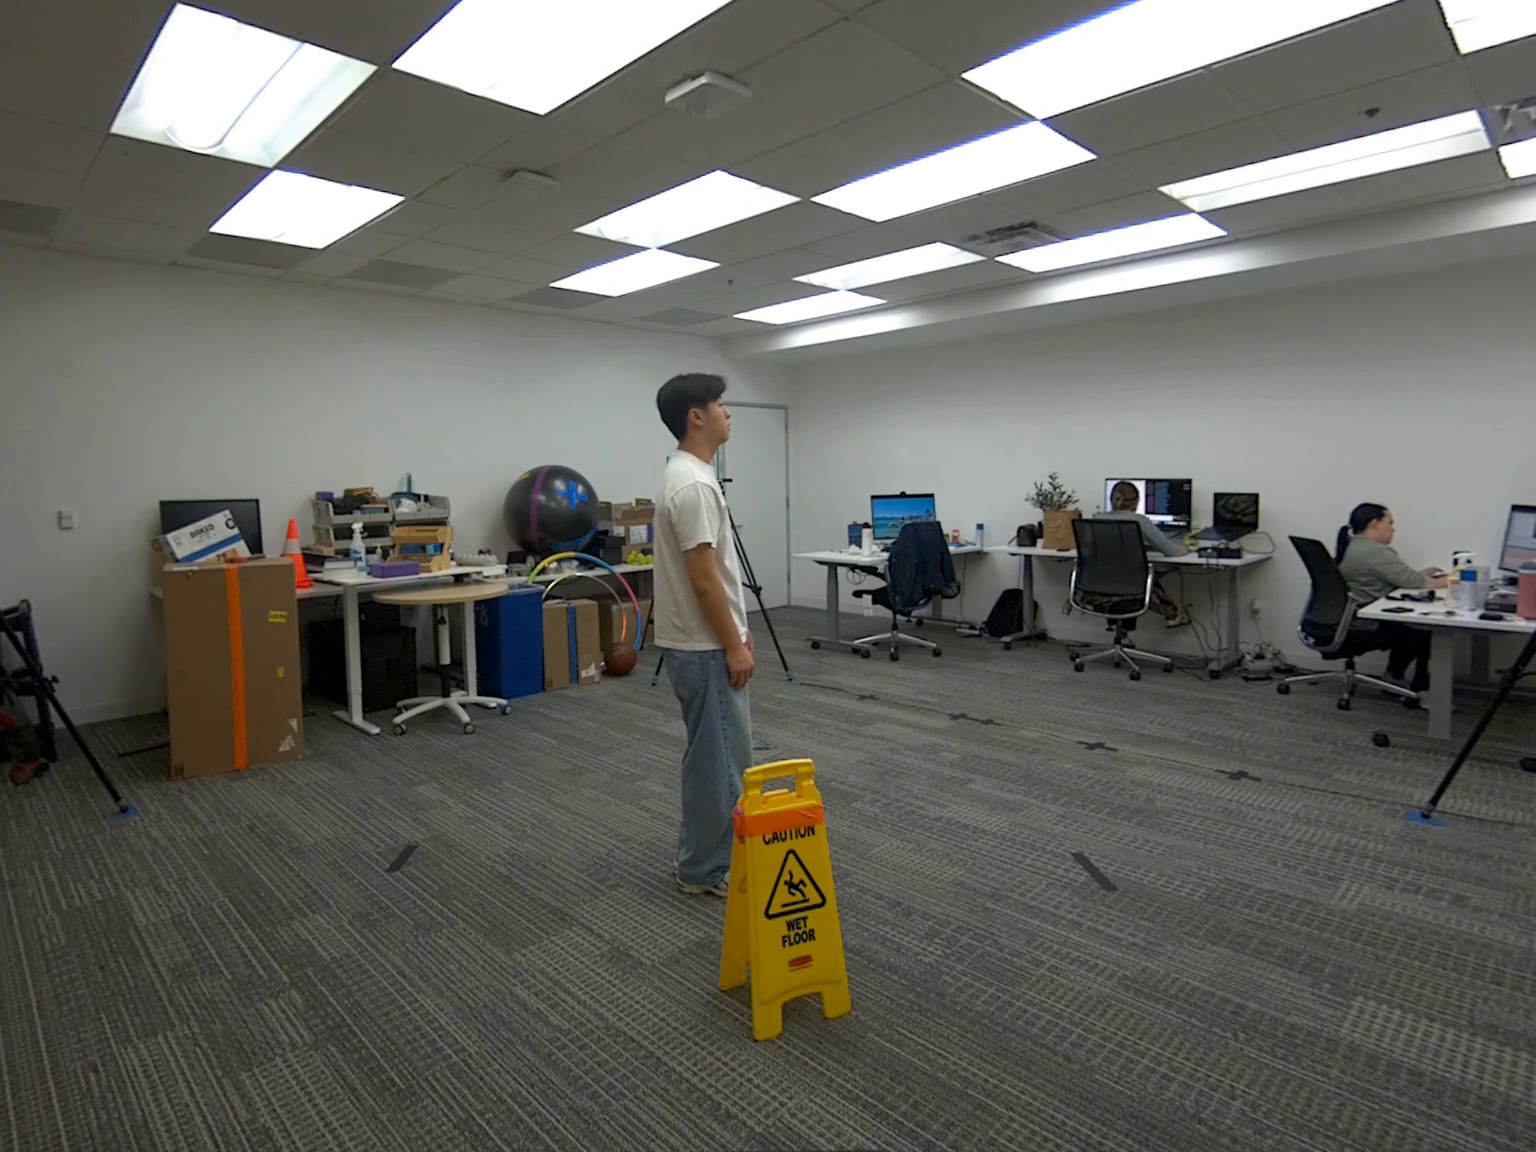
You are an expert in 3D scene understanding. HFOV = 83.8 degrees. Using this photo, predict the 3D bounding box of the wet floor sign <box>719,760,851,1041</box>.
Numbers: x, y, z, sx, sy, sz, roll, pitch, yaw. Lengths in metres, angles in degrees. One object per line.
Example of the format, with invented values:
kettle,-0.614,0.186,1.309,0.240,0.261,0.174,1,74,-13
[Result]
wet floor sign,0.043,0.815,2.264,0.277,0.643,0.297,-3,5,-23
